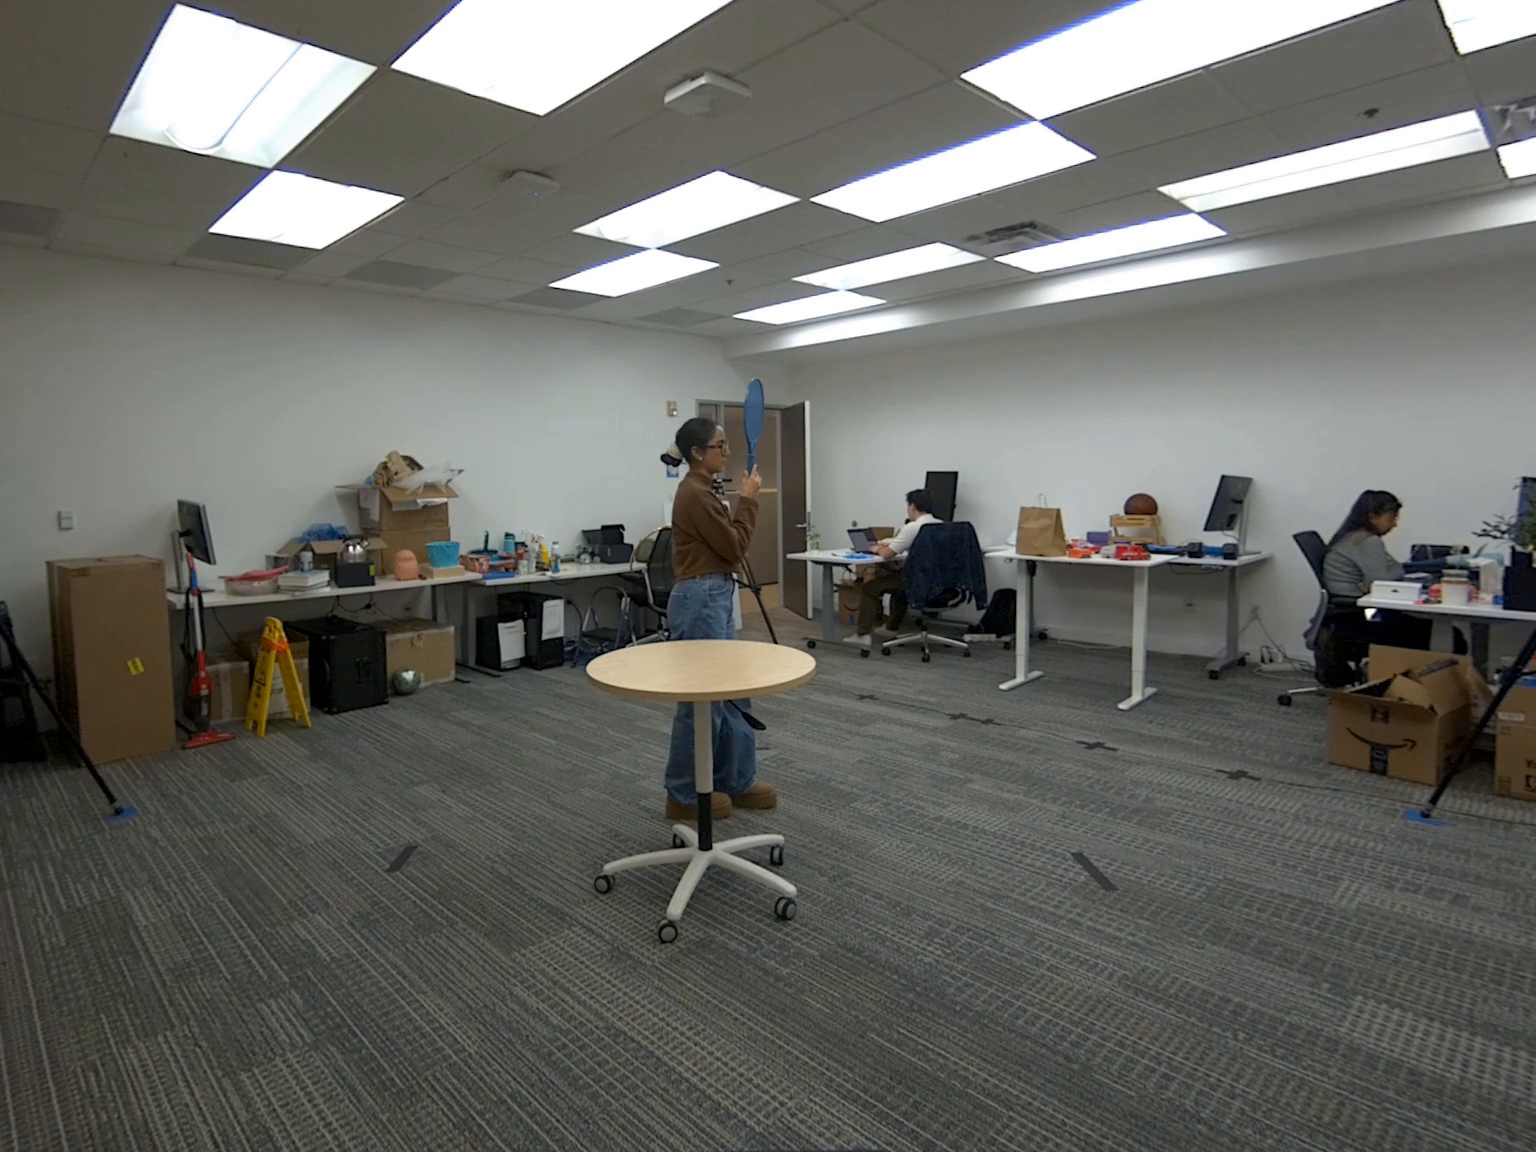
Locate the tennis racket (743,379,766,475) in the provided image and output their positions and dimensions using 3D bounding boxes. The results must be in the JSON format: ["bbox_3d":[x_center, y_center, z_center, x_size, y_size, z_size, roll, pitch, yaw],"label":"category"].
[{"bbox_3d":[-0.070,-0.595,3.509,0.032,0.429,0.211,7,10,19],"label":"tennis racket"}]
